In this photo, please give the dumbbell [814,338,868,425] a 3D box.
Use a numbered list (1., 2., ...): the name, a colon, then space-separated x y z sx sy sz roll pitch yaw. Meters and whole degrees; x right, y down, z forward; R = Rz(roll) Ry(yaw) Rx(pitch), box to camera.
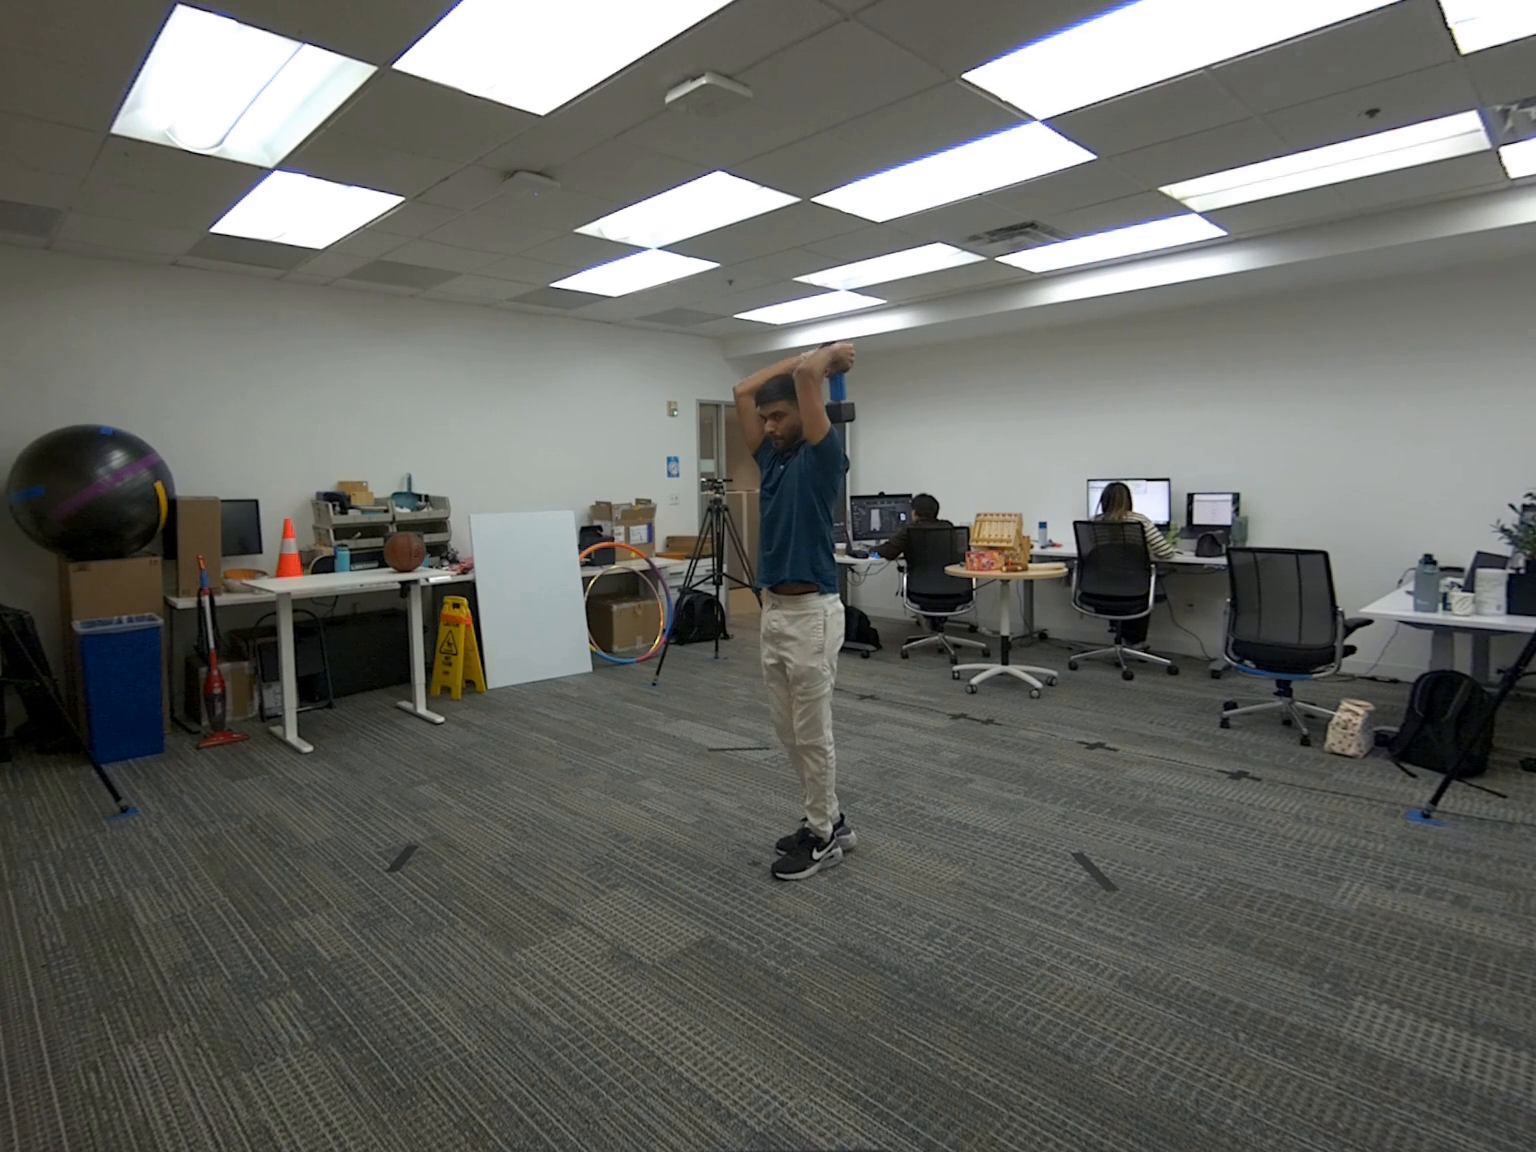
1. dumbbell: 0.265 -0.707 3.117 0.120 0.291 0.112 -14 11 -41
